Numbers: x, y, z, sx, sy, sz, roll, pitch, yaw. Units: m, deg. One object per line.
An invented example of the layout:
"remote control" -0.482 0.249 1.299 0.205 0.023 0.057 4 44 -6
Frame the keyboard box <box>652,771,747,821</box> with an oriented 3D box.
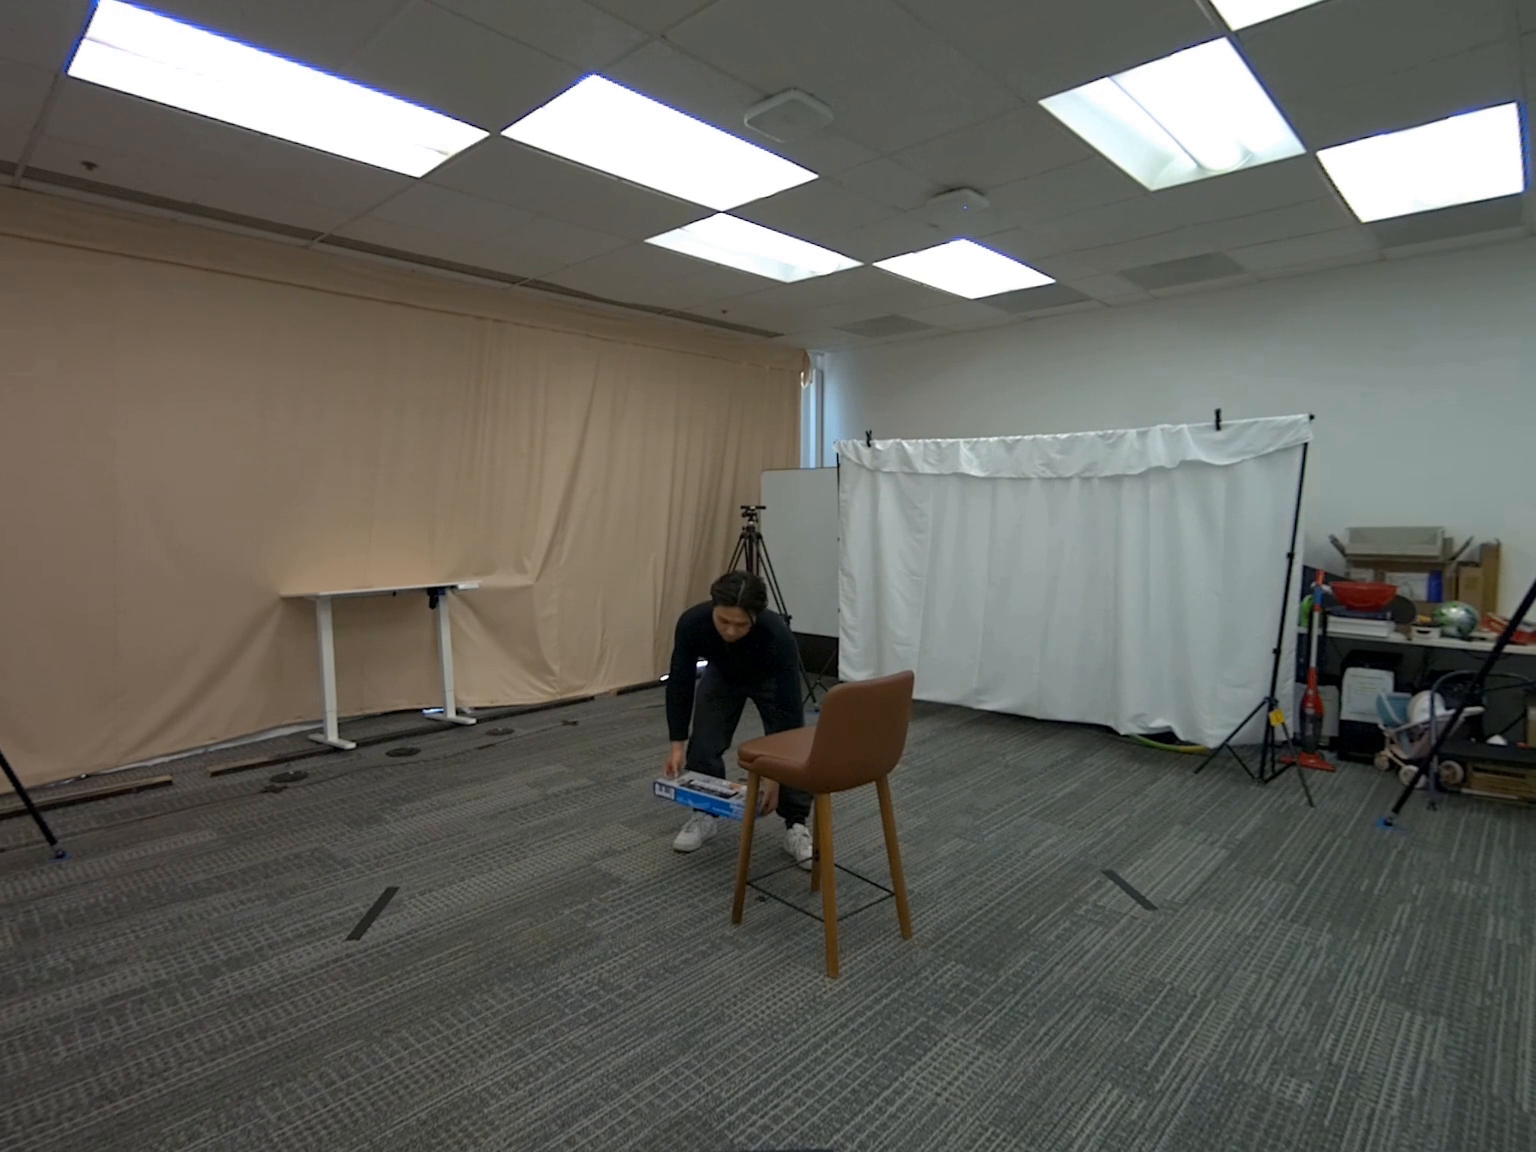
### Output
"keyboard box" -0.197 0.814 3.174 0.451 0.059 0.171 7 13 35
